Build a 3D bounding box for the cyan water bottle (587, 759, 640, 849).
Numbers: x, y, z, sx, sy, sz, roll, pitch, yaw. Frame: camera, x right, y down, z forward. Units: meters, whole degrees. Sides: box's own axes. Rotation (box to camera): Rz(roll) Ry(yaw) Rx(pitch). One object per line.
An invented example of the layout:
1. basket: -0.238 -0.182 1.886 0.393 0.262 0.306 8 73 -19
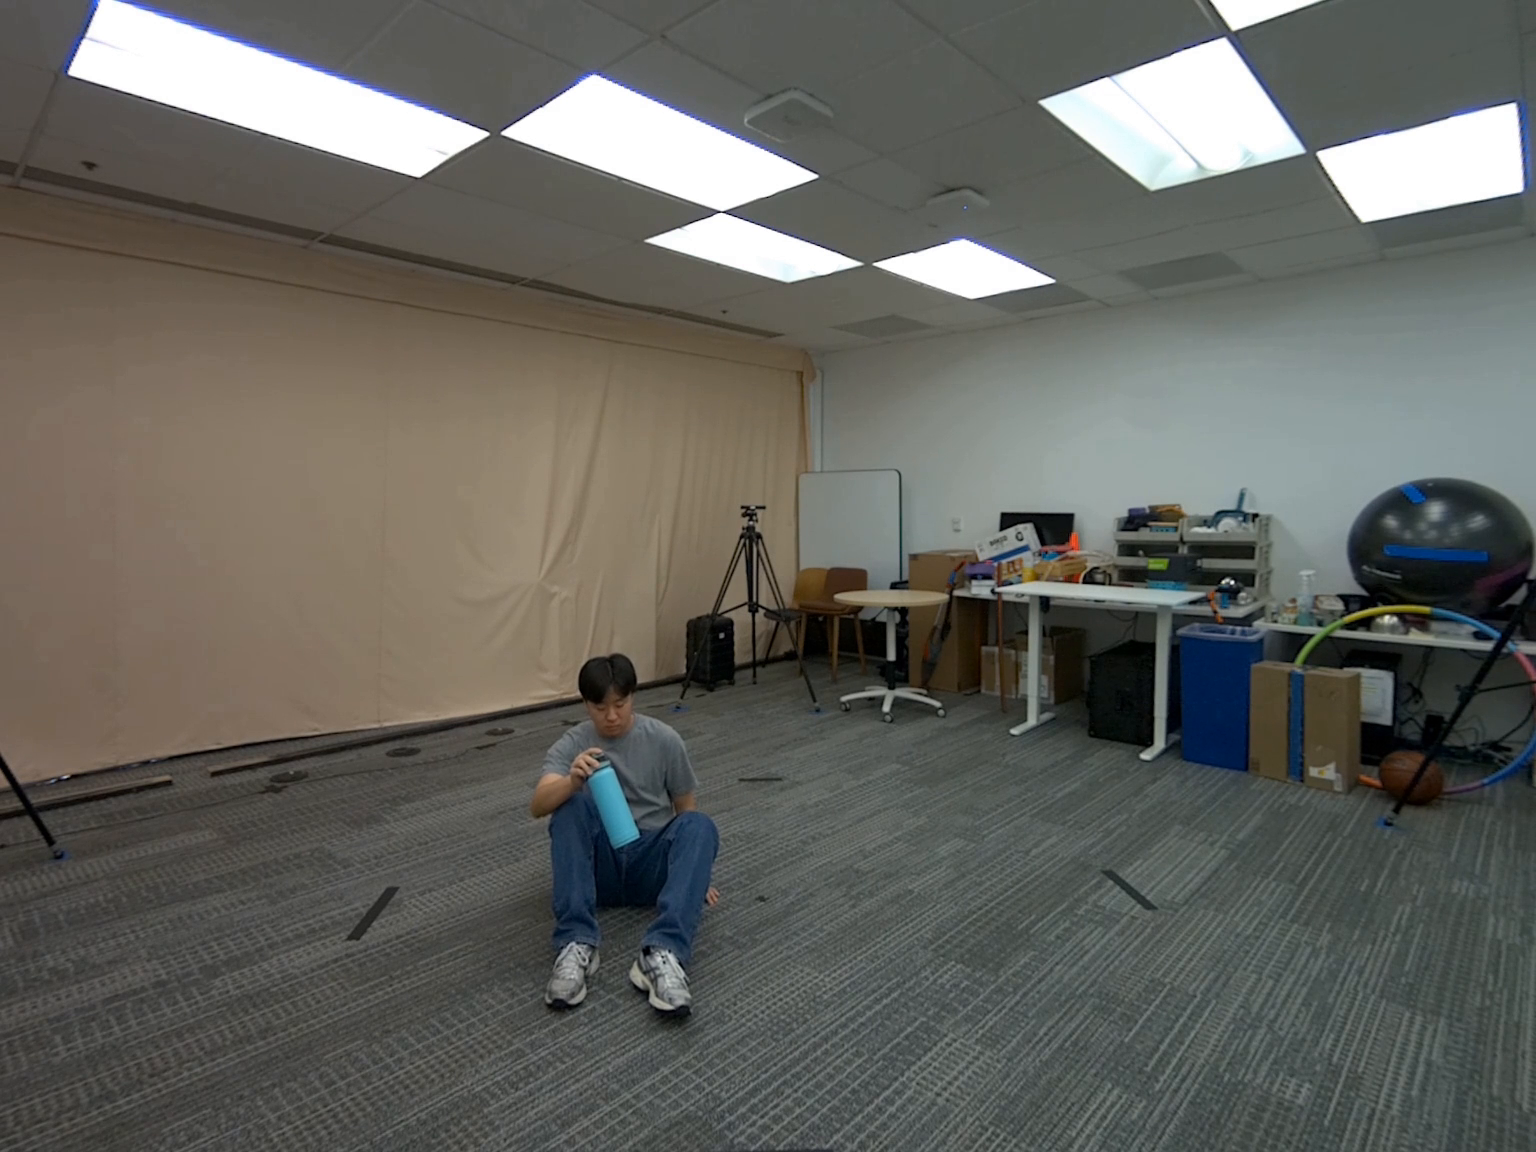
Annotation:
1. cyan water bottle: -0.482 0.681 2.577 0.092 0.287 0.091 -21 -12 -6
